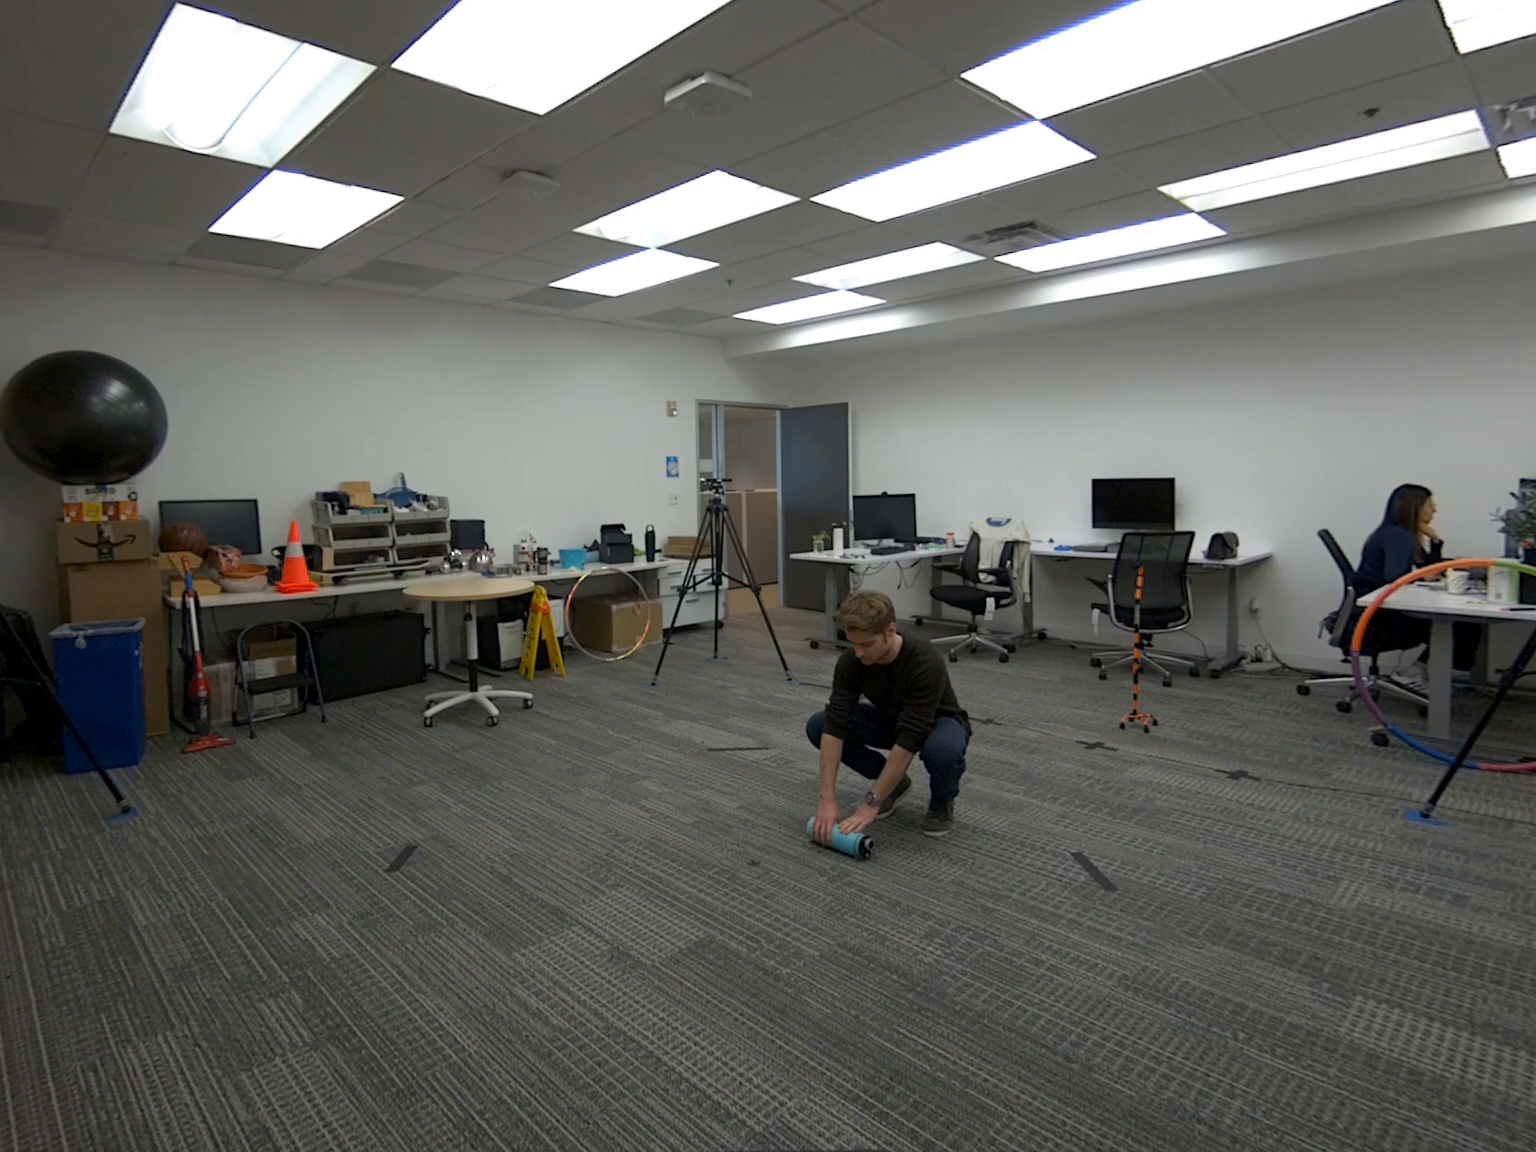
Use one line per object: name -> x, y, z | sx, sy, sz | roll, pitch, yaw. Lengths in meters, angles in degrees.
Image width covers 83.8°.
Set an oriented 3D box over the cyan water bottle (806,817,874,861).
cyan water bottle -> 0.269, 0.981, 3.204 | 0.090, 0.092, 0.292 | -5, 8, -41
